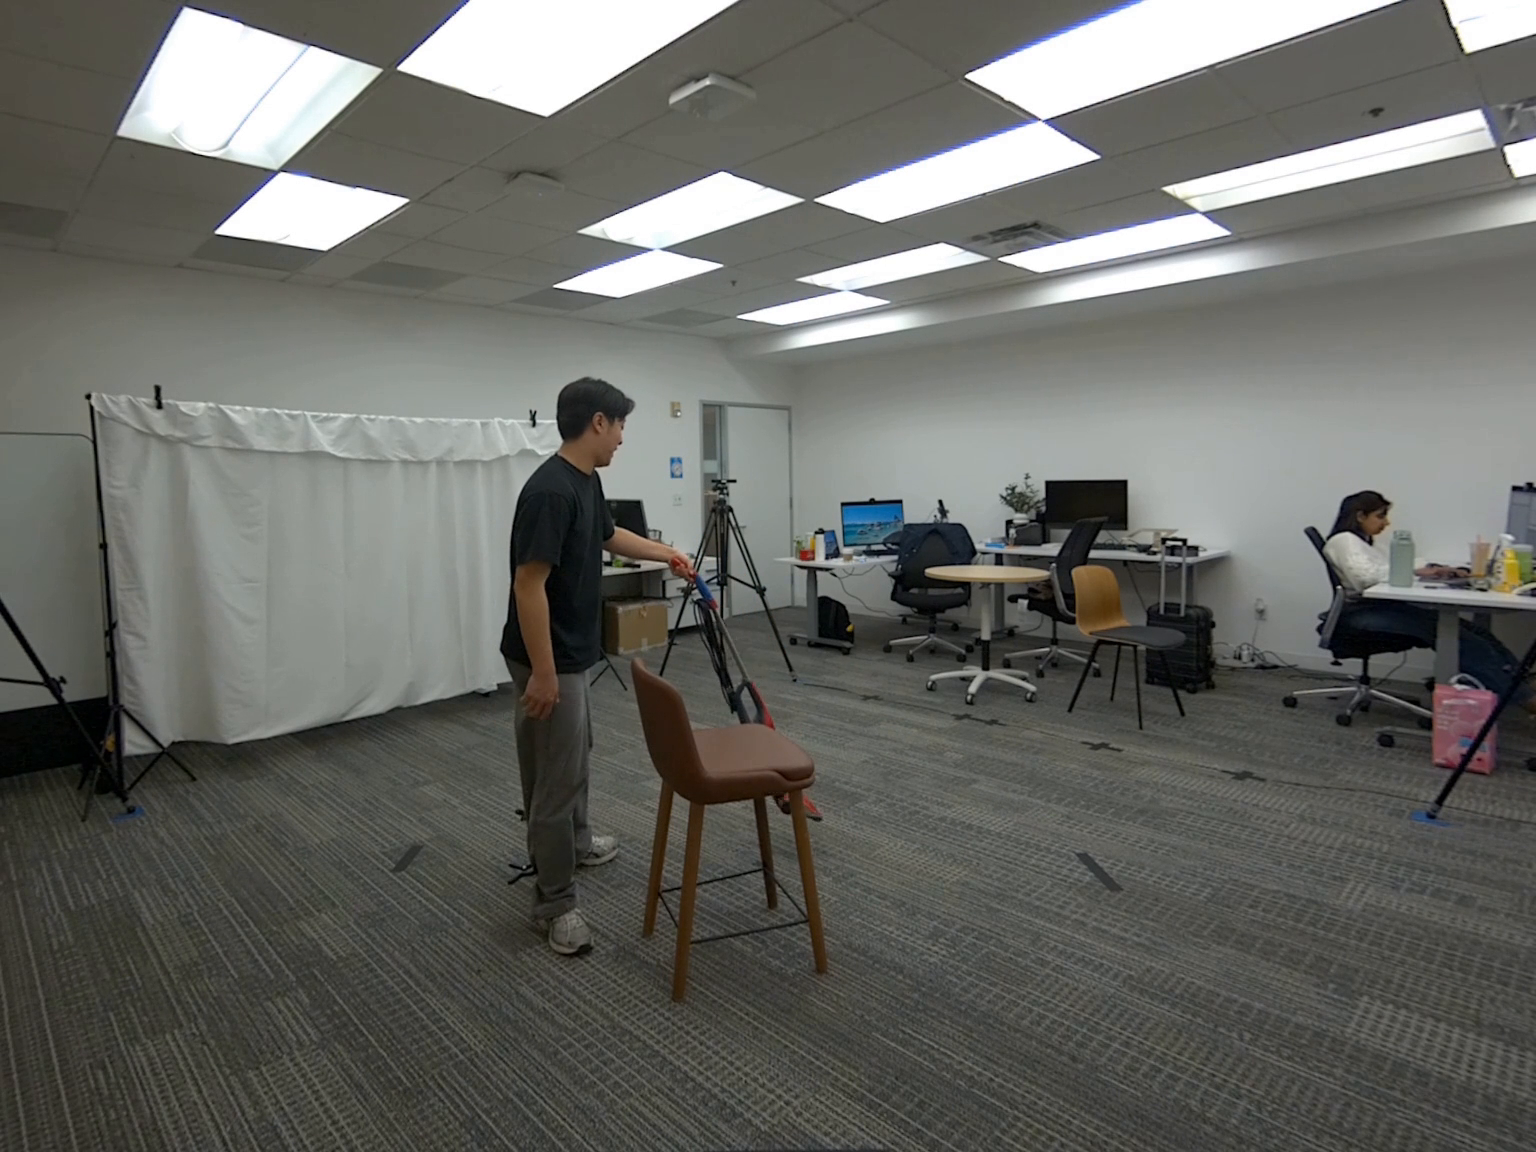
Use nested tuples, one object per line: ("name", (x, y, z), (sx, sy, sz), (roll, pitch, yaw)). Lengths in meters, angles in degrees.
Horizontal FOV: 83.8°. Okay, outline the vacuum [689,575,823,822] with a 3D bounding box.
("vacuum", (-0.106, 0.414, 3.146), (0.143, 1.036, 0.258), (-27, 11, -18))
